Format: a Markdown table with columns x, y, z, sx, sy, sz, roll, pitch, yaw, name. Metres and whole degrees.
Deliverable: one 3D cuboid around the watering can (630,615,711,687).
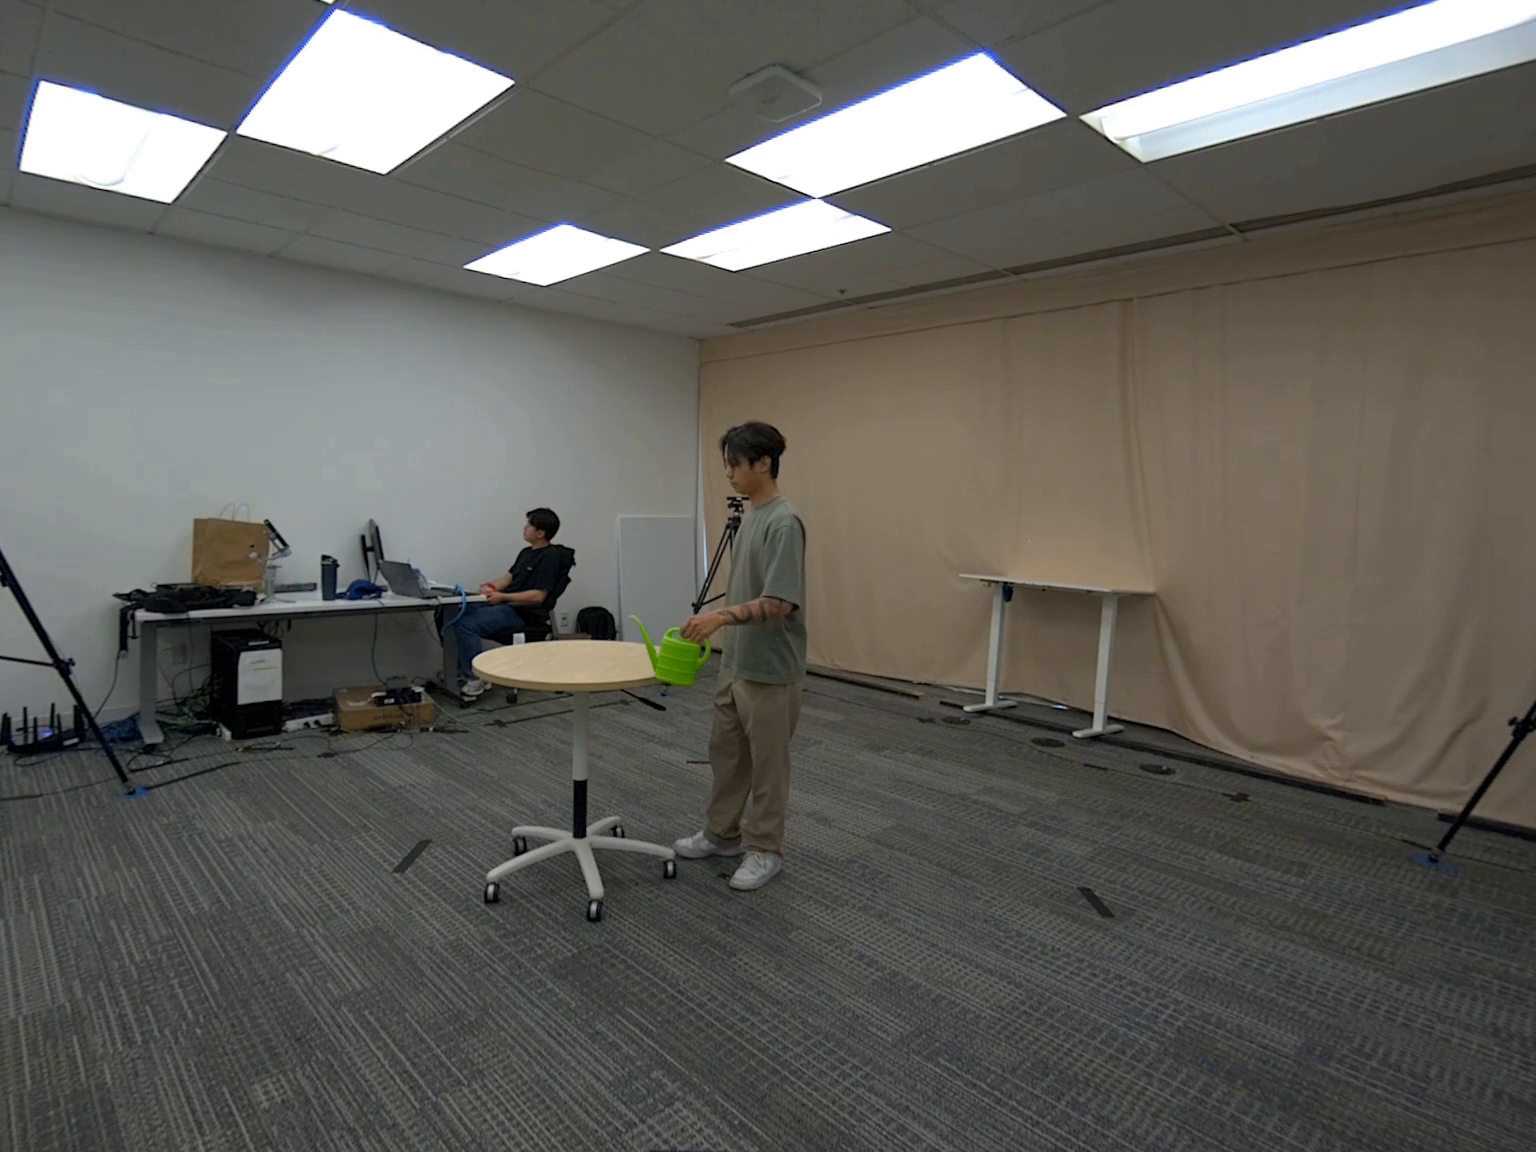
| x | y | z | sx | sy | sz | roll | pitch | yaw | name |
| --- | --- | --- | --- | --- | --- | --- | --- | --- | --- |
| -0.325 | 0.246 | 2.684 | 0.283 | 0.176 | 0.096 | 13 | 3 | 21 | watering can |
